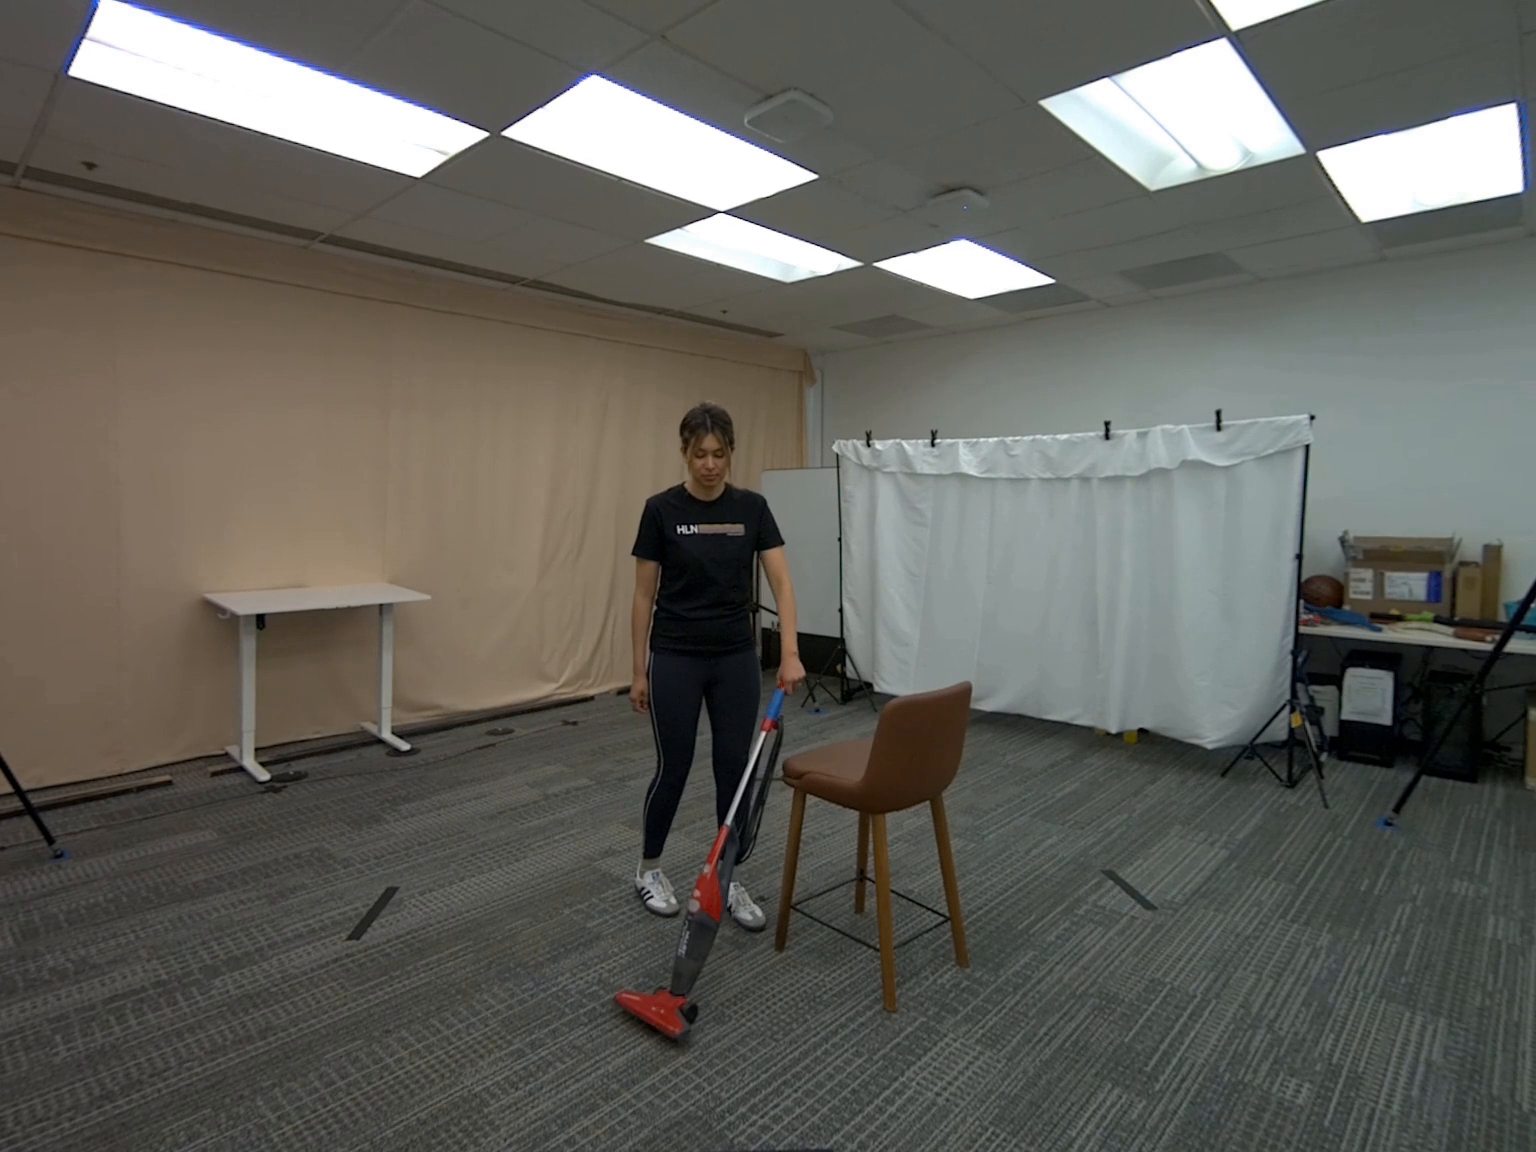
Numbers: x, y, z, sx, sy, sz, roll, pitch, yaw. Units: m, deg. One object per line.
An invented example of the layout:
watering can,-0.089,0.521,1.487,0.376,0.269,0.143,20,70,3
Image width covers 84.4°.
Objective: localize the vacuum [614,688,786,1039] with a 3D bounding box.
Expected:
vacuum,-0.086,0.750,2.478,0.261,1.051,0.139,2,-32,41
